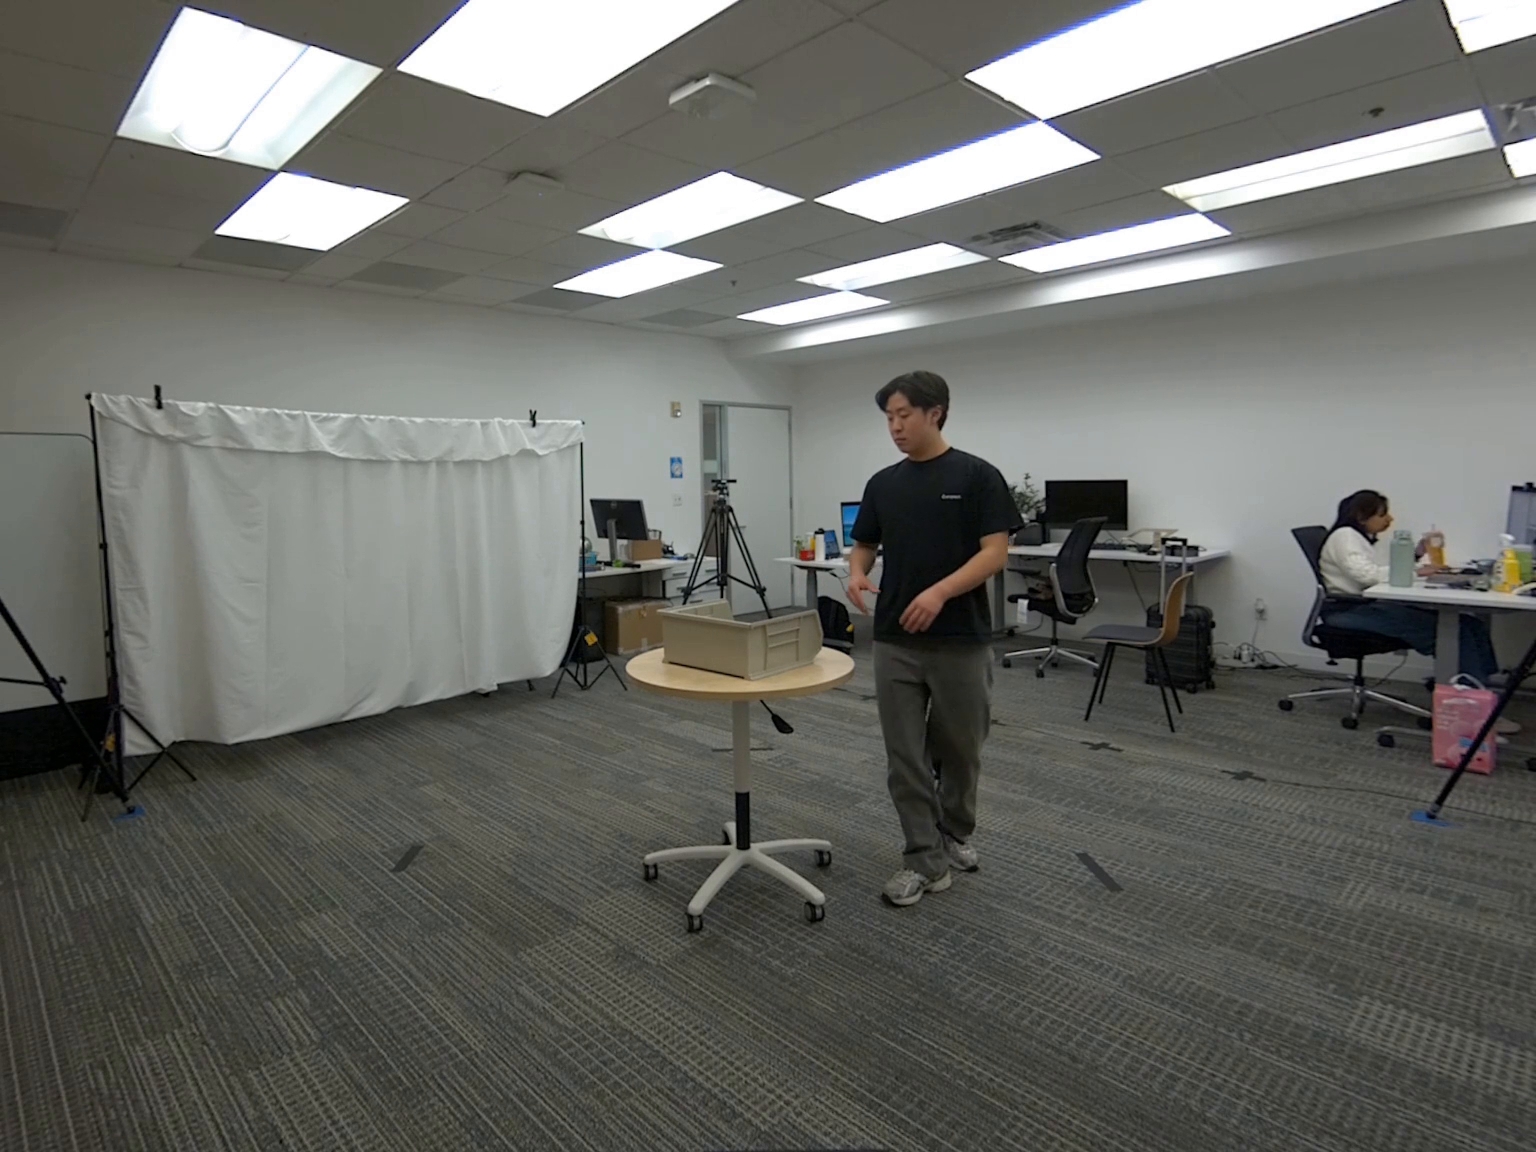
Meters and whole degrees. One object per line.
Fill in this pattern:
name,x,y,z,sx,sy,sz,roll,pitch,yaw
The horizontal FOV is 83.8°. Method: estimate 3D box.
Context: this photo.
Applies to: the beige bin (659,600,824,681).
beige bin,-0.089,0.199,2.886,0.435,0.188,0.368,6,11,41
